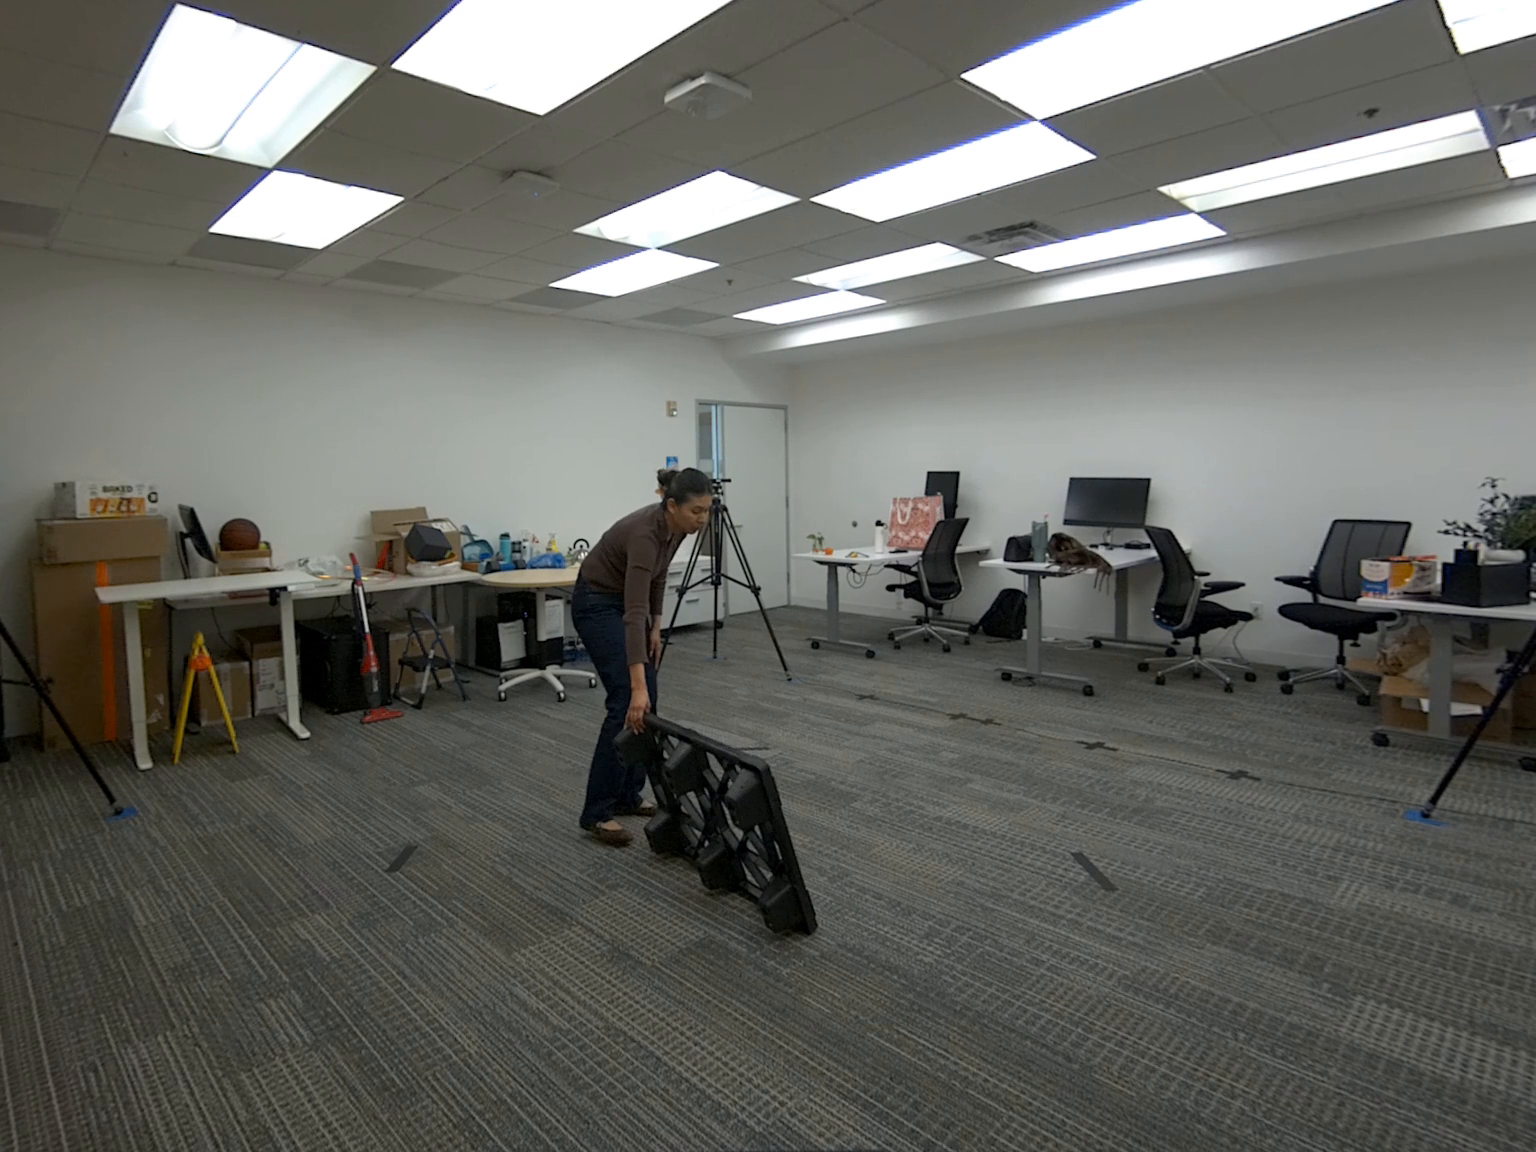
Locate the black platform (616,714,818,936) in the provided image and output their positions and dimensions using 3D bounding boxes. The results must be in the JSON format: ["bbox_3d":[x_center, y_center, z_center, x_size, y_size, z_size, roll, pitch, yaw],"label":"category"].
[{"bbox_3d":[-0.210,0.811,2.842,0.141,0.596,0.830,-24,18,-33],"label":"black platform"}]
